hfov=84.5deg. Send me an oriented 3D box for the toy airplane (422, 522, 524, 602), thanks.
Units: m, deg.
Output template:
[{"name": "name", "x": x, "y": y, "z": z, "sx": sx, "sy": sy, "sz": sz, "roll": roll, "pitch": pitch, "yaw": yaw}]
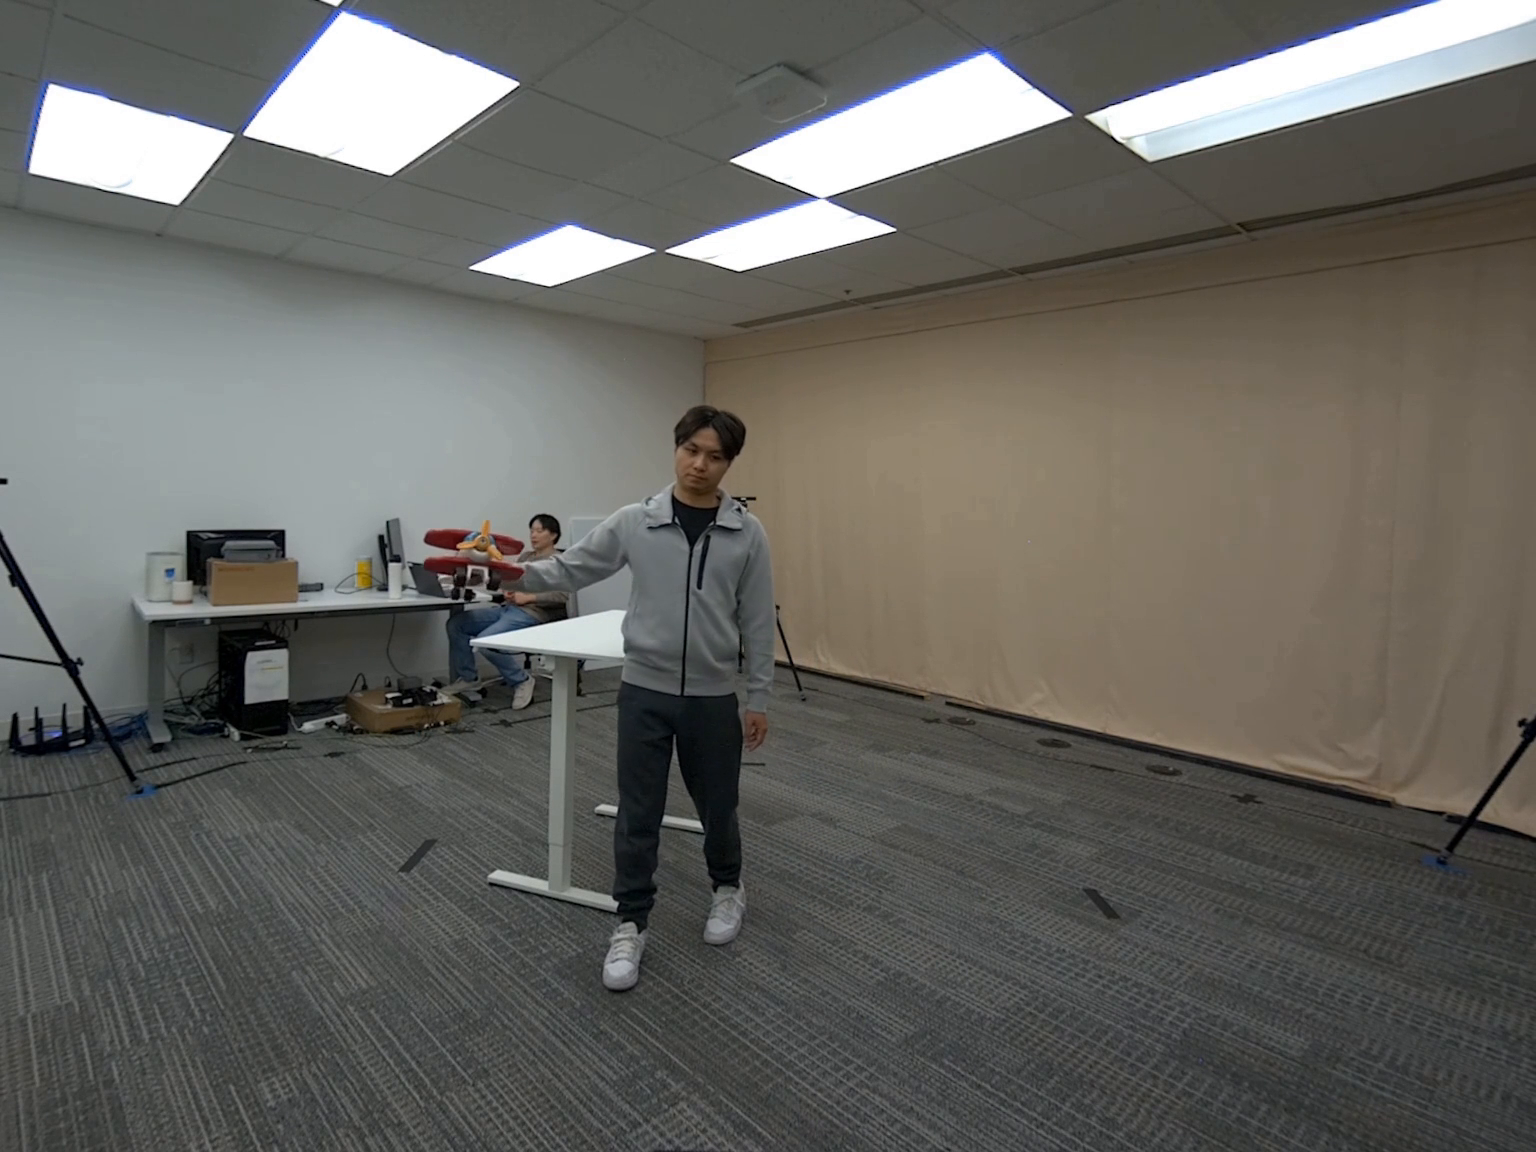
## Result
[{"name": "toy airplane", "x": -0.801, "y": -0.032, "z": 2.224, "sx": 0.264, "sy": 0.158, "sz": 0.244, "roll": -9, "pitch": -15, "yaw": 35}]
